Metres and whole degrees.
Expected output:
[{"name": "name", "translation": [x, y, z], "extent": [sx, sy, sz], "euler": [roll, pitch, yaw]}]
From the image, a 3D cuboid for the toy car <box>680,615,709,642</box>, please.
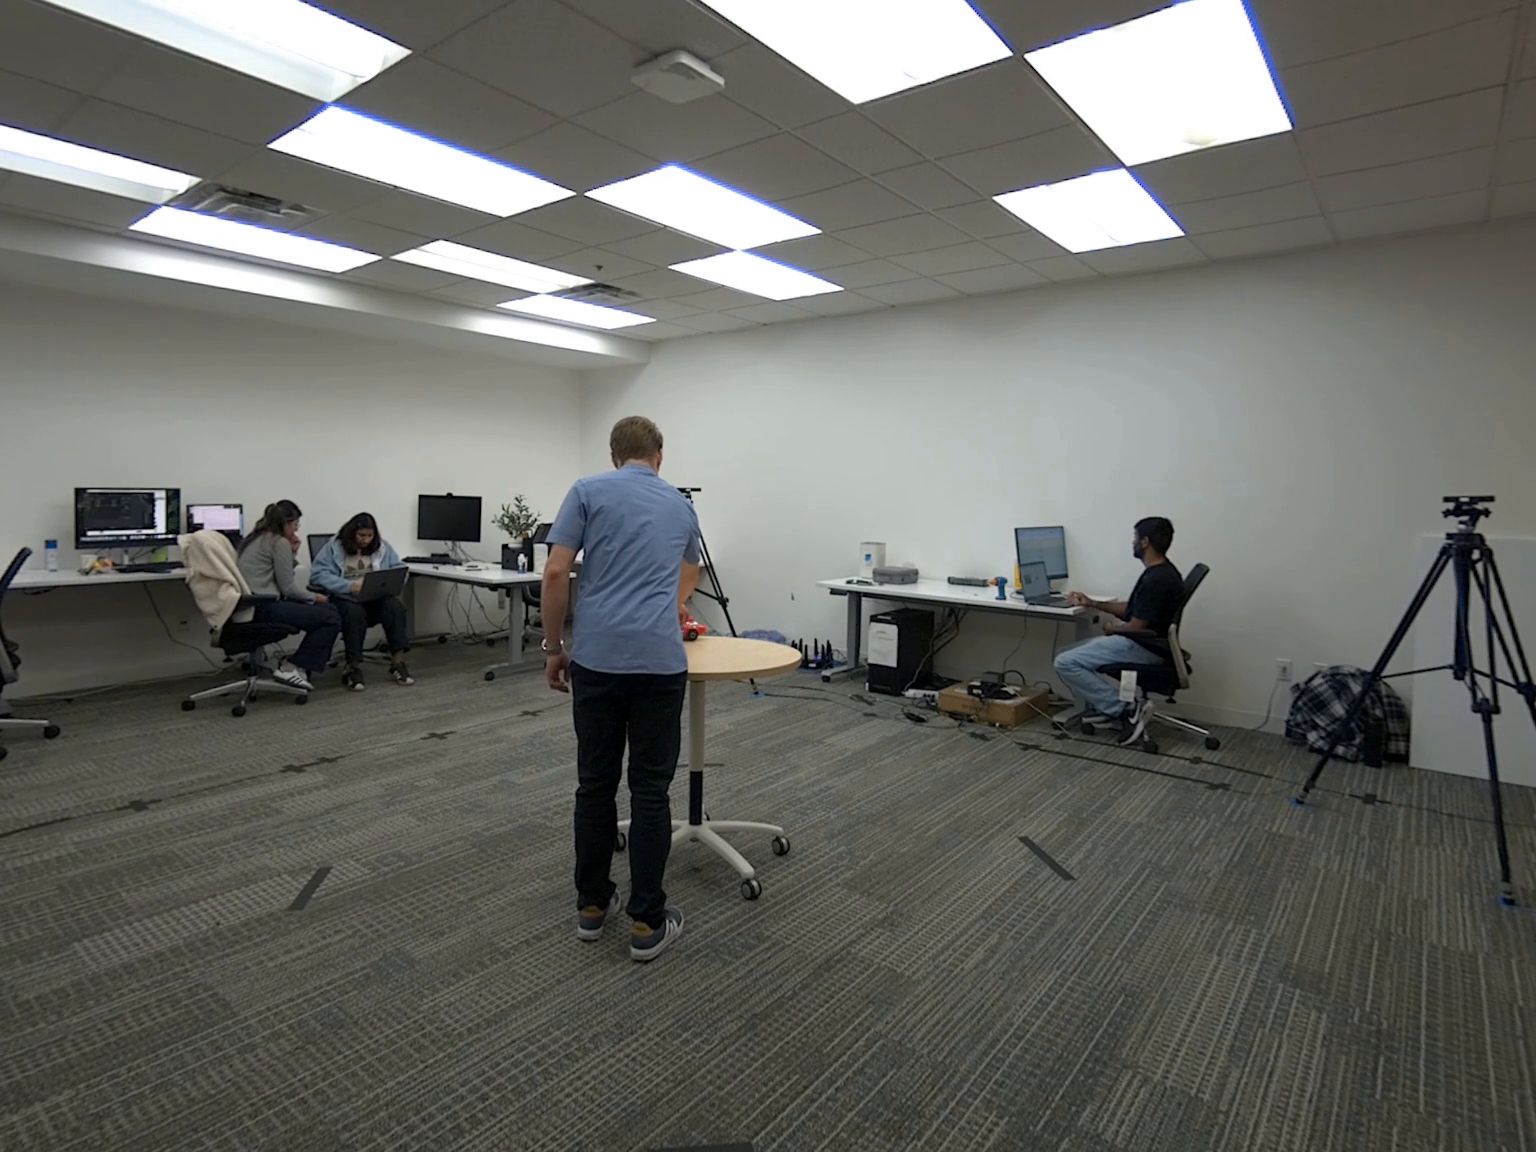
[{"name": "toy car", "translation": [-0.375, 0.226, 3.436], "extent": [0.250, 0.082, 0.133], "euler": [-14, 8, -20]}]
